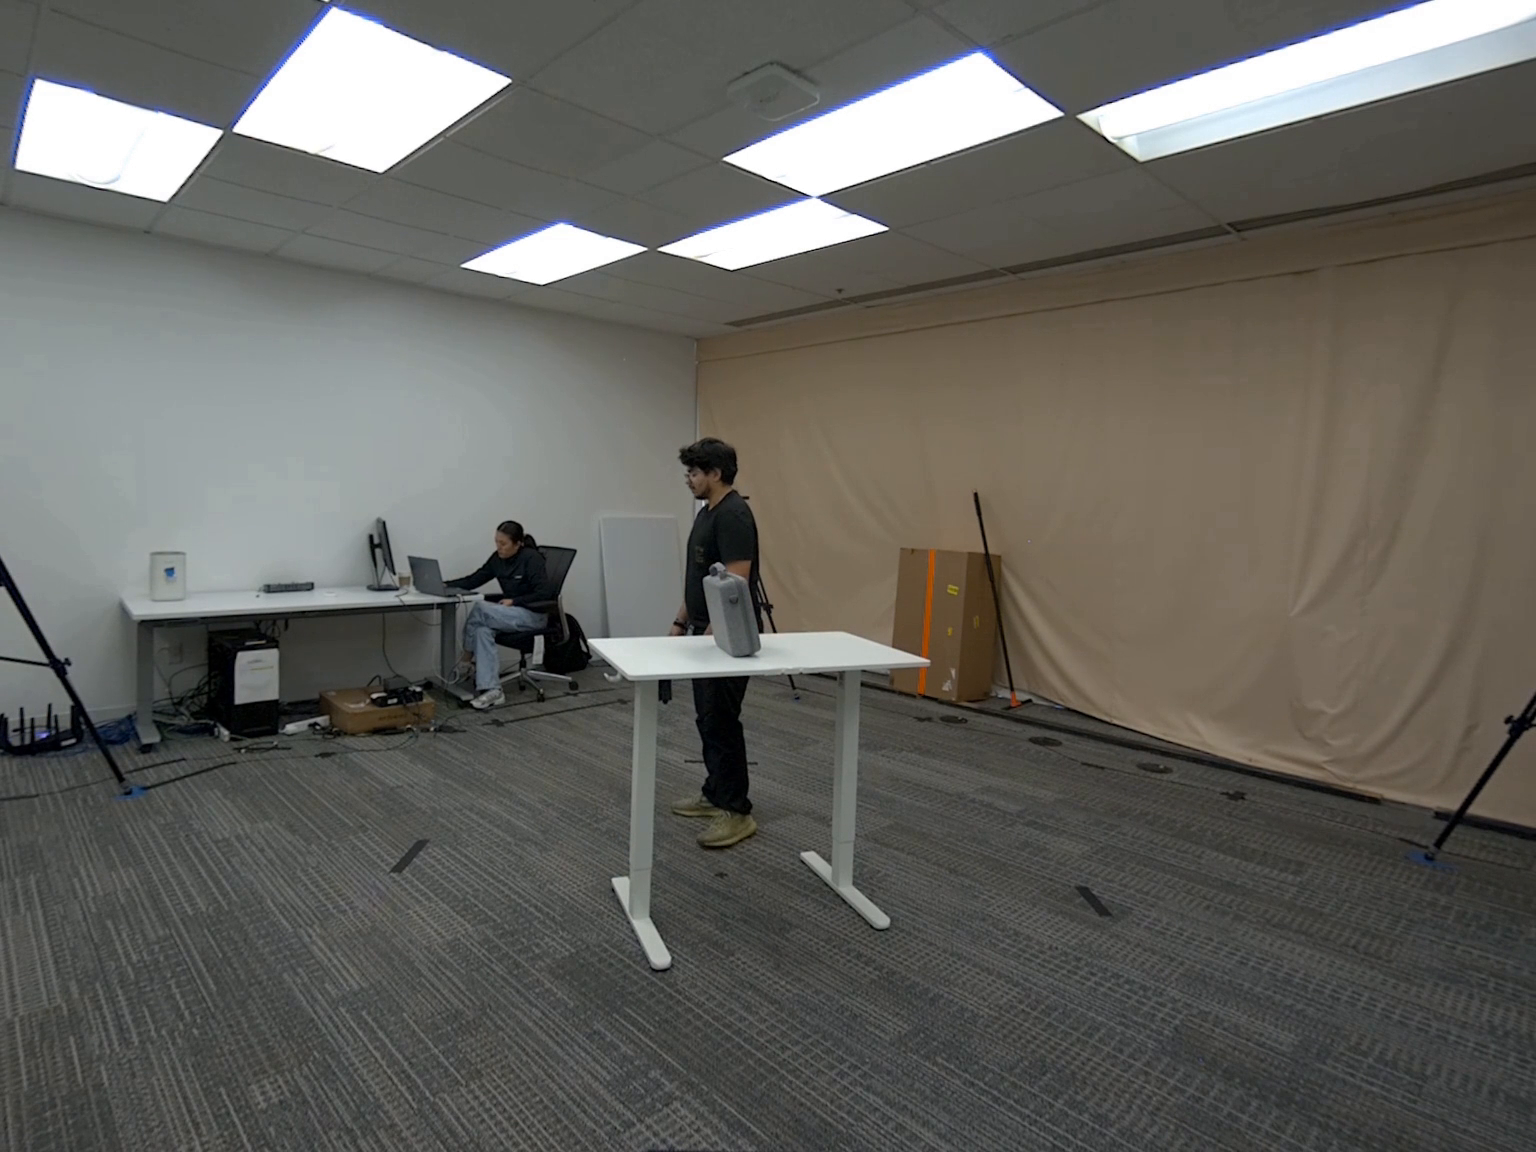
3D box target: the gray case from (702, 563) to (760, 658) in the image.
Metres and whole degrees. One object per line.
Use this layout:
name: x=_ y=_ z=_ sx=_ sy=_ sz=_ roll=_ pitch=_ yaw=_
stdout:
gray case: x=-0.132 y=0.118 z=2.770 sx=0.103 sy=0.259 sz=0.261 roll=-7 pitch=8 yaw=-15
